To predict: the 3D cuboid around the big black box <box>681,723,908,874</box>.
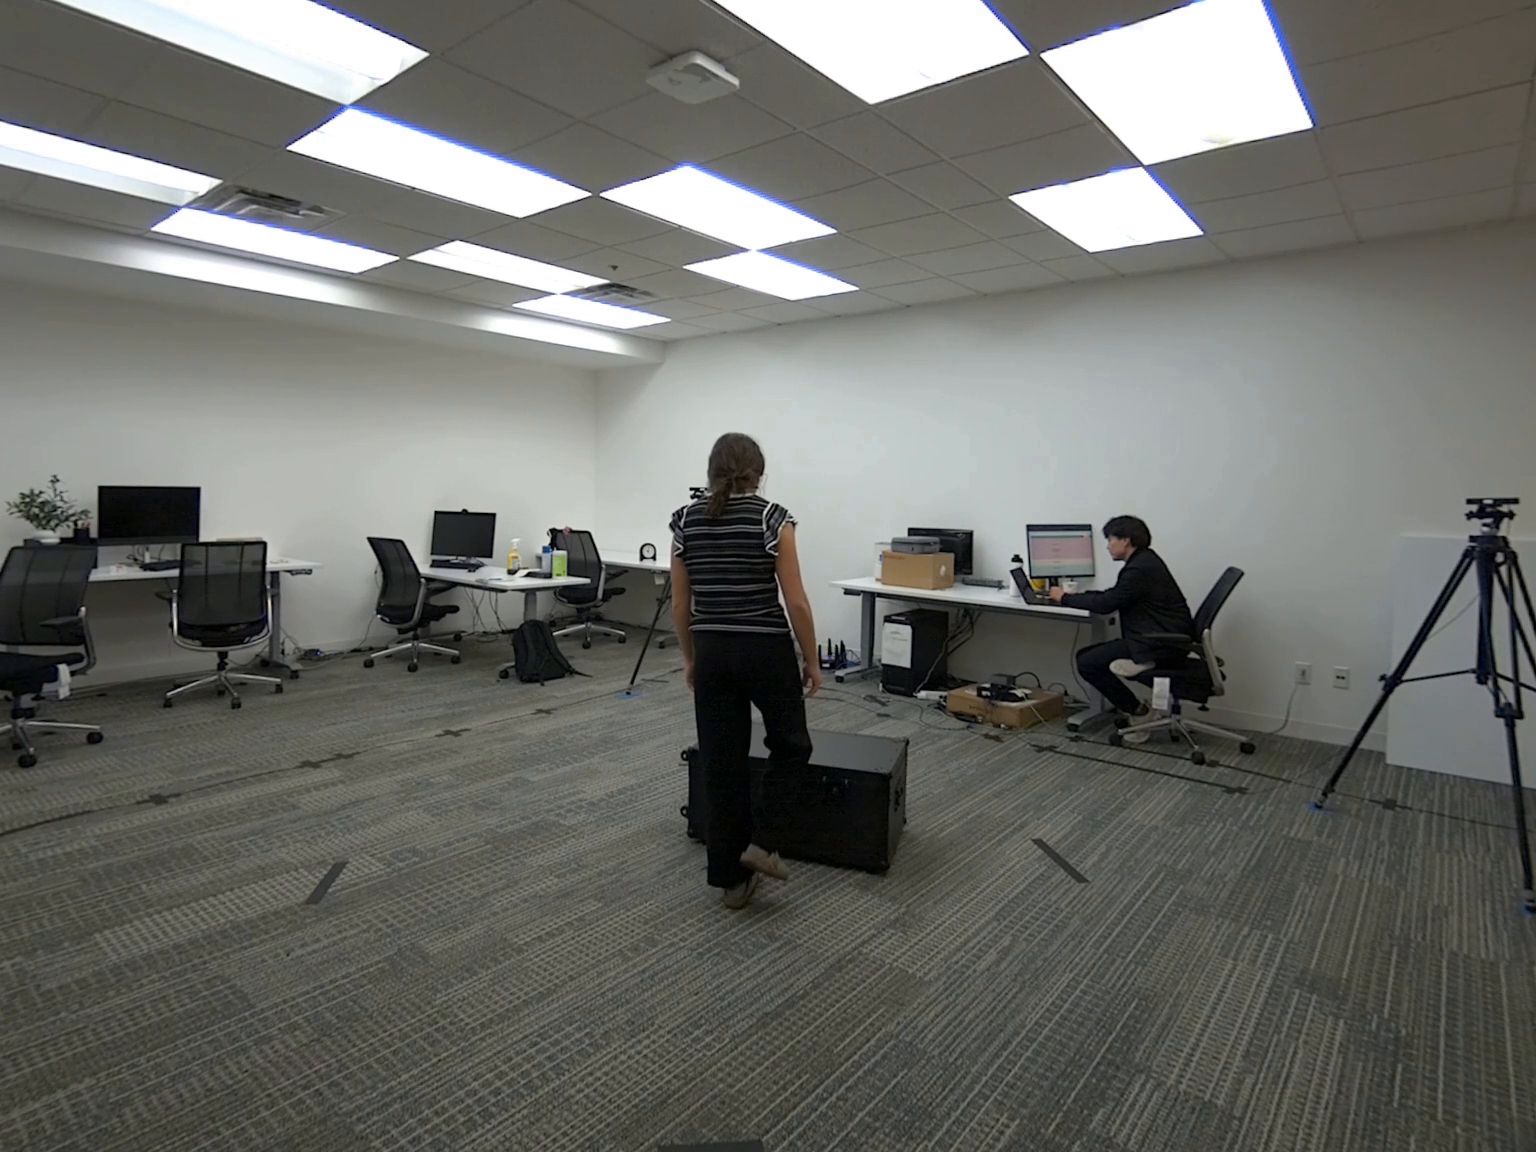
[{"bbox_3d":[0.087,0.848,3.424,0.879,0.394,0.513,3,6,19],"label":"big black box"}]
